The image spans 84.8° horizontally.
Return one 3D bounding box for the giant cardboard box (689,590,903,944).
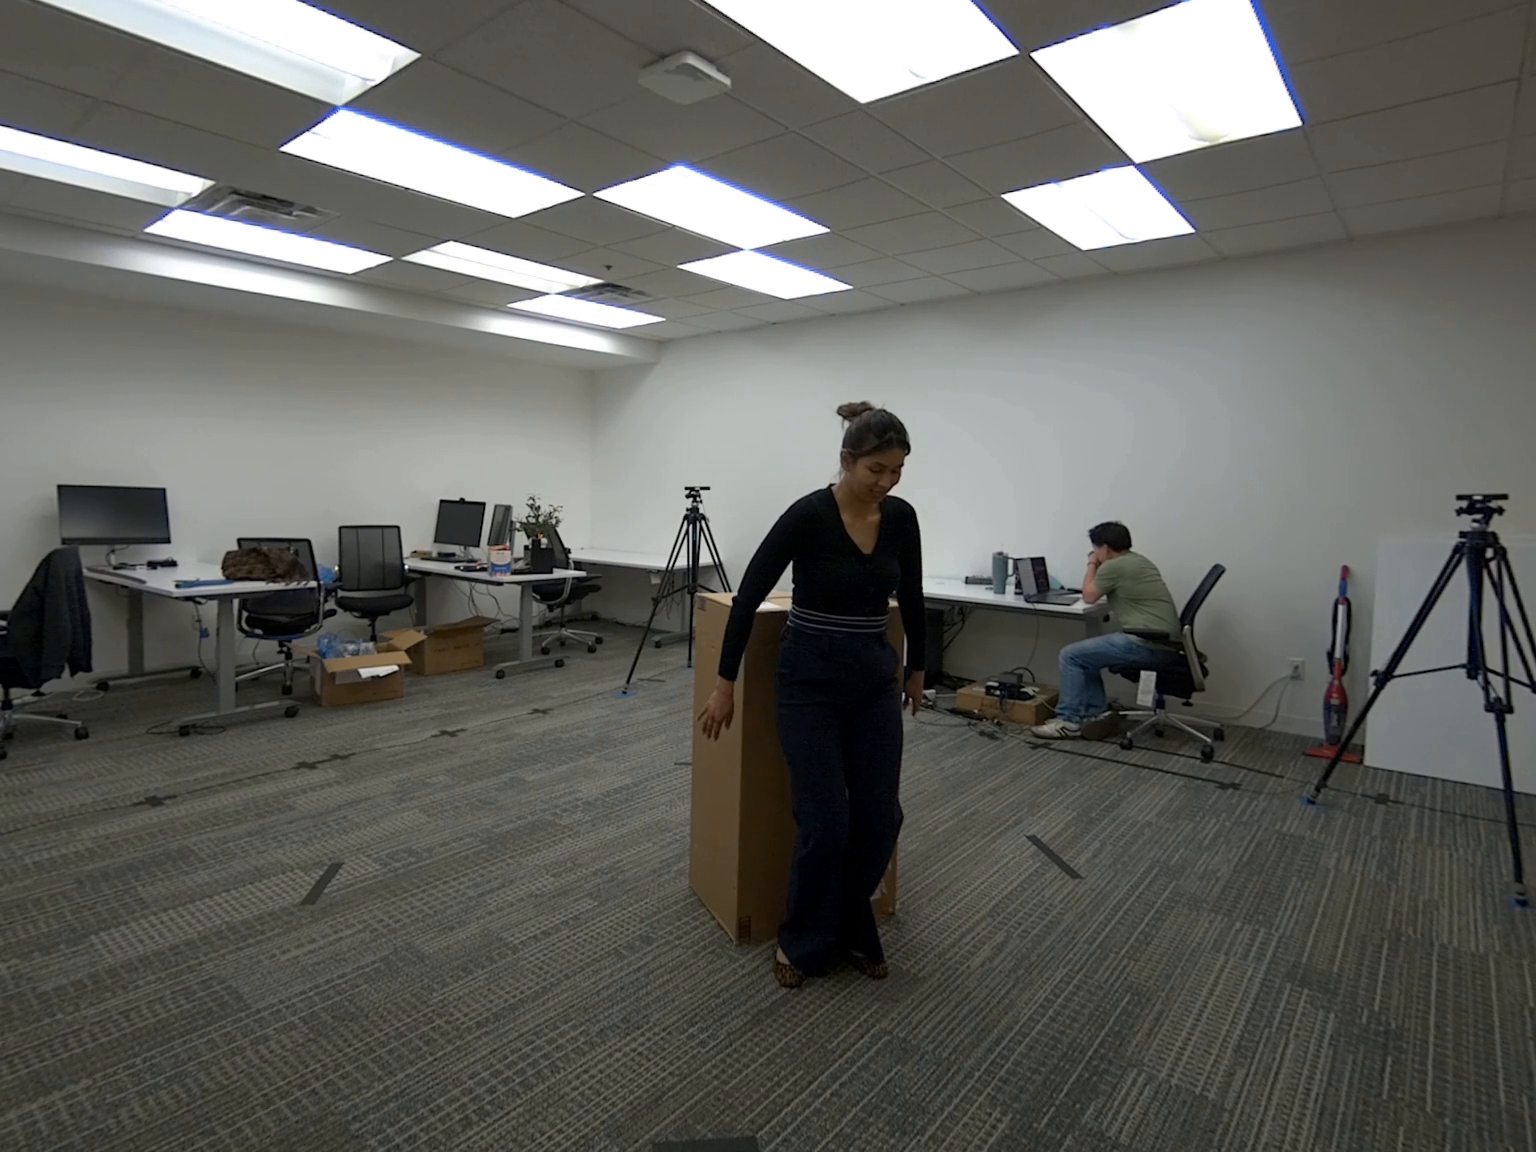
[{"bbox_3d":[0.075,0.583,2.858,0.564,1.023,0.437,0,3,-24],"label":"giant cardboard box"}]
